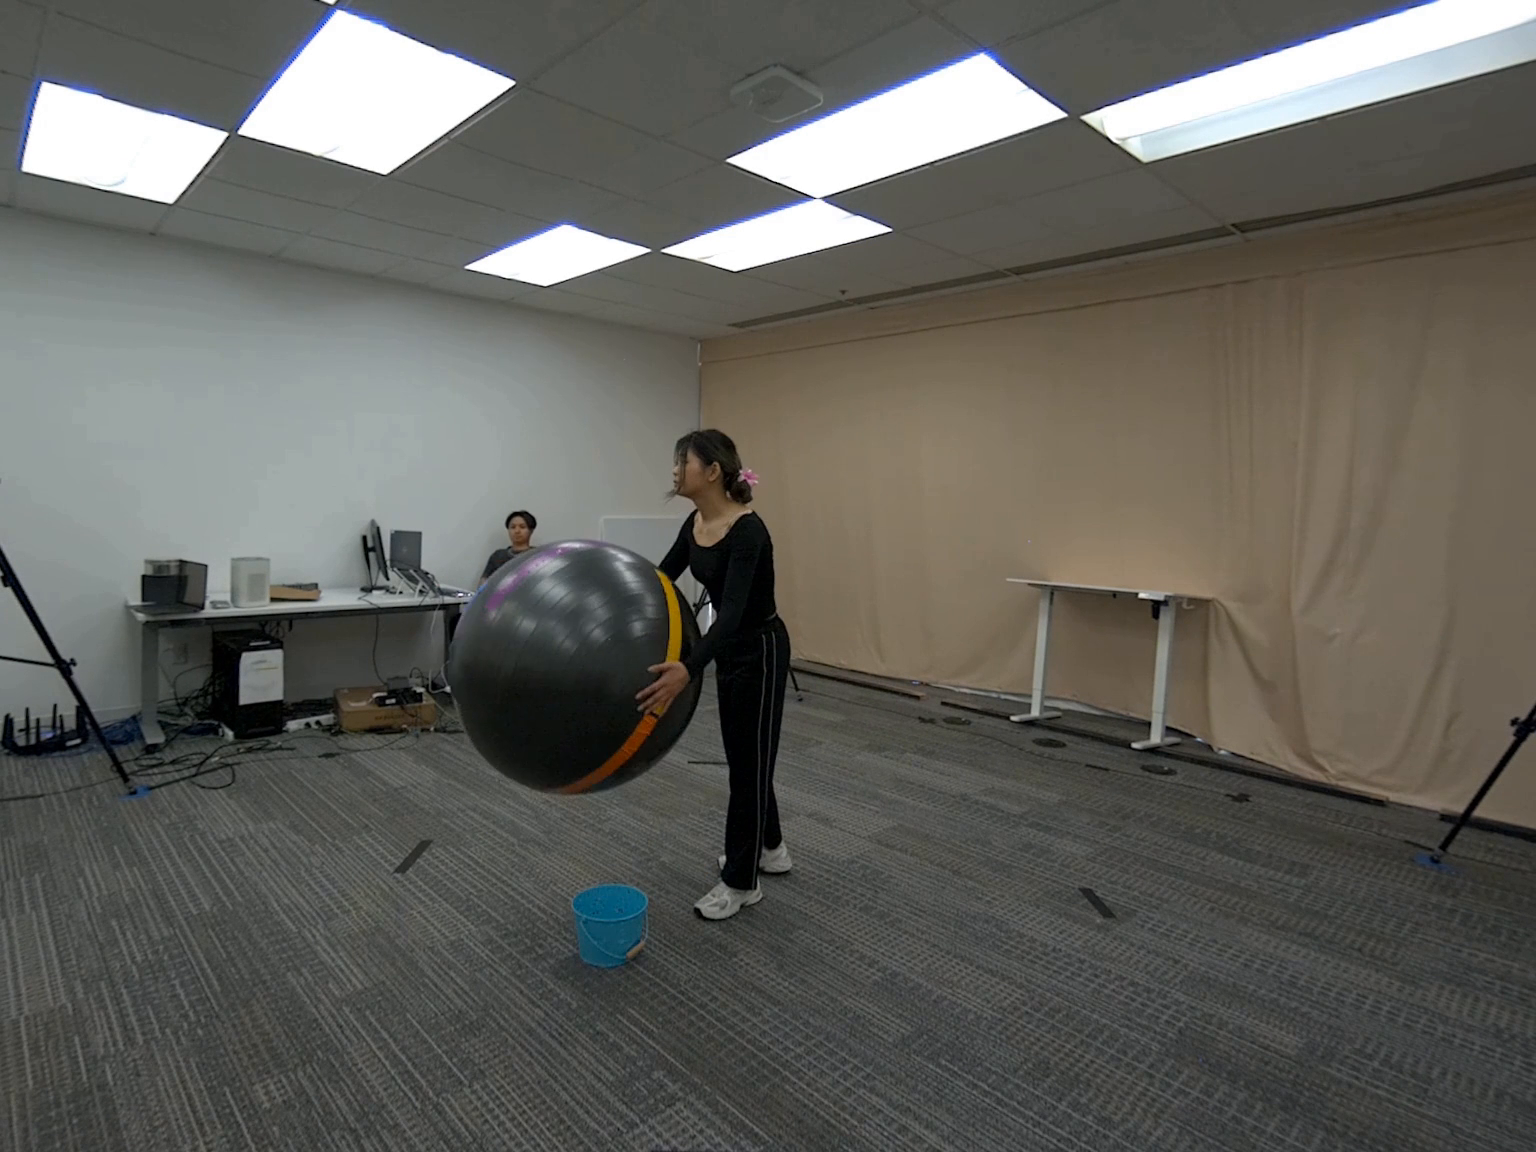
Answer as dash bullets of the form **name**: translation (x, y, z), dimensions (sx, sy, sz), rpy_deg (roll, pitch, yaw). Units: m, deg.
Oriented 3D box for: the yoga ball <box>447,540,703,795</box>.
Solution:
- **yoga ball**: translation (-0.587, 0.278, 2.552), dimensions (0.757, 0.756, 0.761), rpy_deg (1, 4, -1)
